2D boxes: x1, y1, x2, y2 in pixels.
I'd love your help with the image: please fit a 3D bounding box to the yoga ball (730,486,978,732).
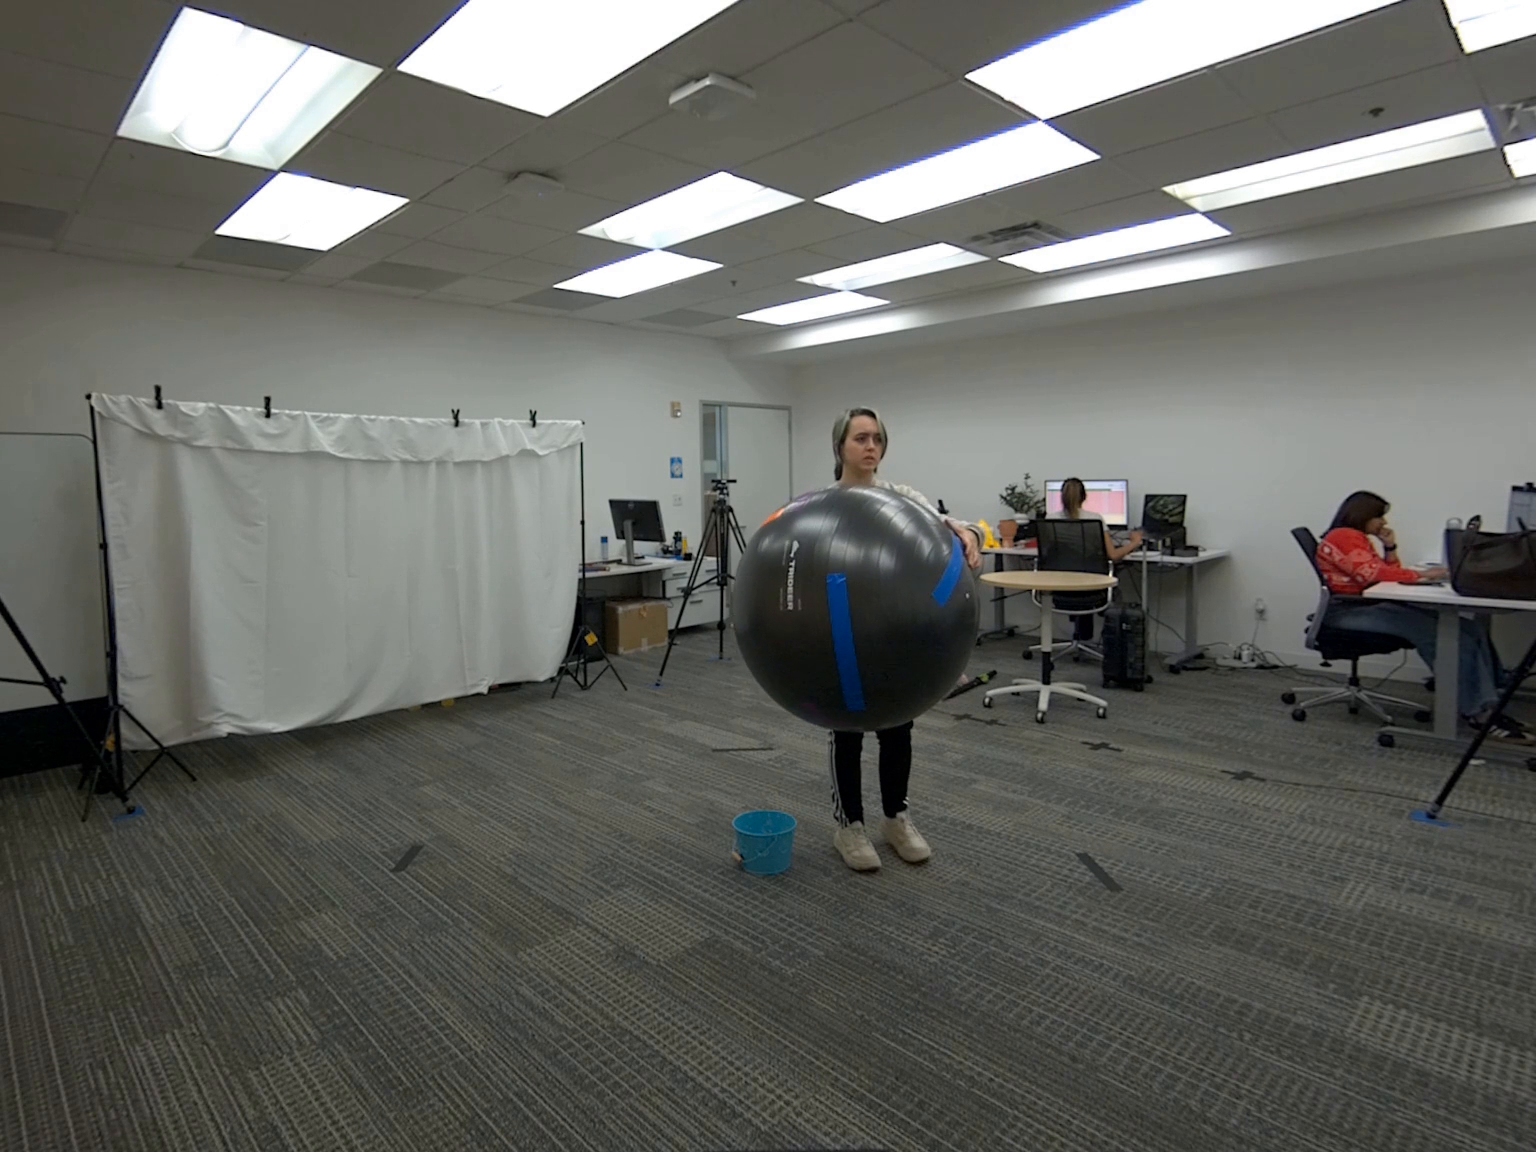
[{"bbox_3d":[0.268,0.103,2.644,0.757,0.755,0.762,-1,5,-2],"label":"yoga ball"}]
